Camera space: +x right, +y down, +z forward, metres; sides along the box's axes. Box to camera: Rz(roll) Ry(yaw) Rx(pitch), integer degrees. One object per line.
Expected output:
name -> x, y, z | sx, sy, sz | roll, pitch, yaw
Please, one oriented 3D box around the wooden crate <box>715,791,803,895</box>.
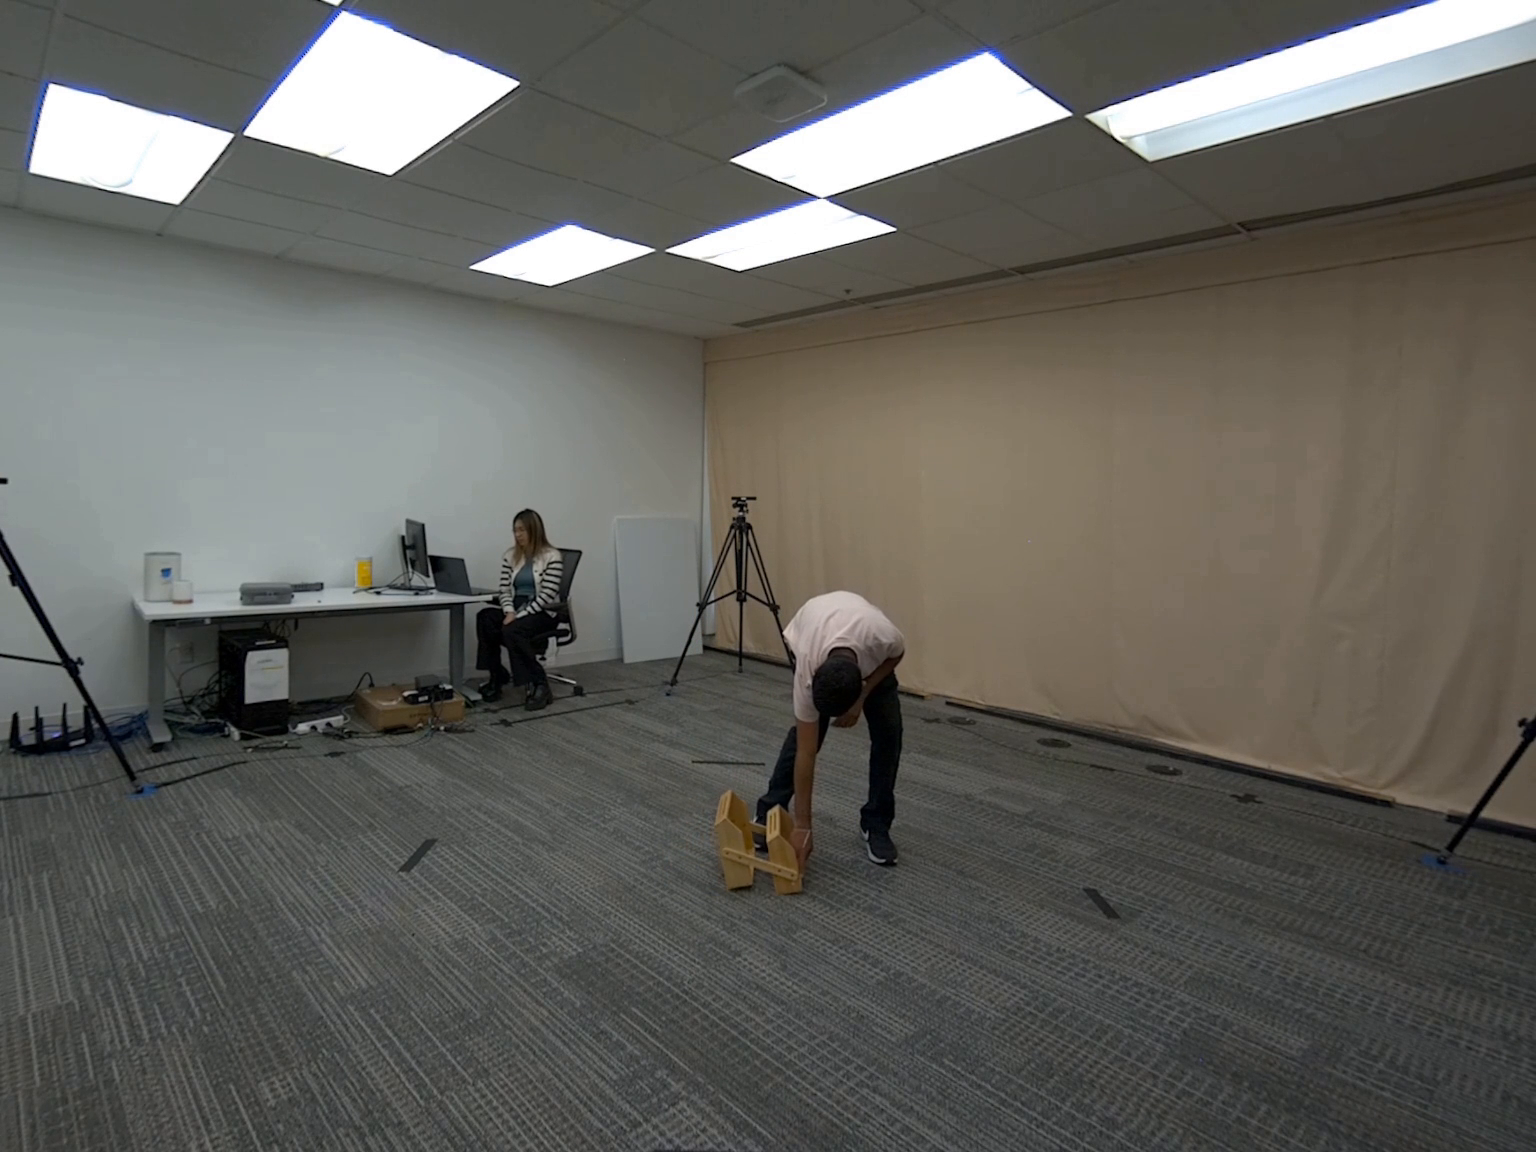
wooden crate -> -0.037, 0.972, 3.109 | 0.274, 0.301, 0.325 | -11, 4, 2
